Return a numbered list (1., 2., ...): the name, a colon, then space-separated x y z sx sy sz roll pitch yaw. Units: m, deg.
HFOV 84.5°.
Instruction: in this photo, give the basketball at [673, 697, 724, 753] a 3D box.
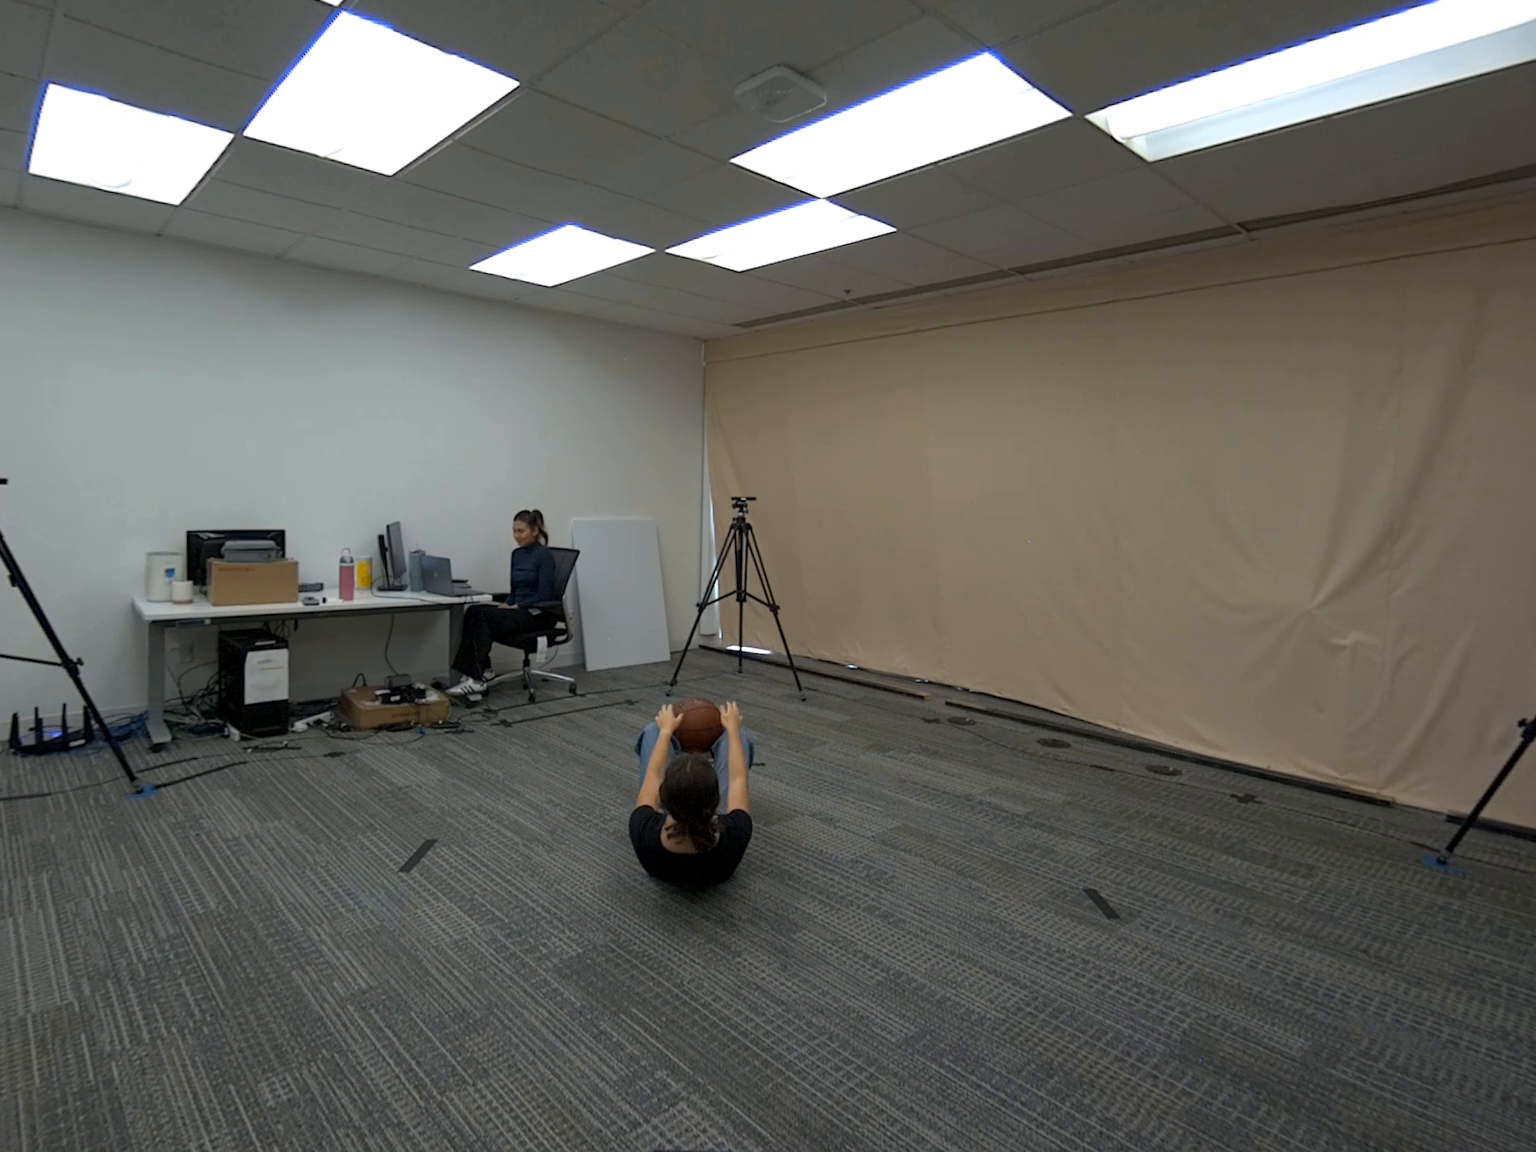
1. basketball: -0.301 0.618 3.496 0.236 0.235 0.237 1 4 -1
